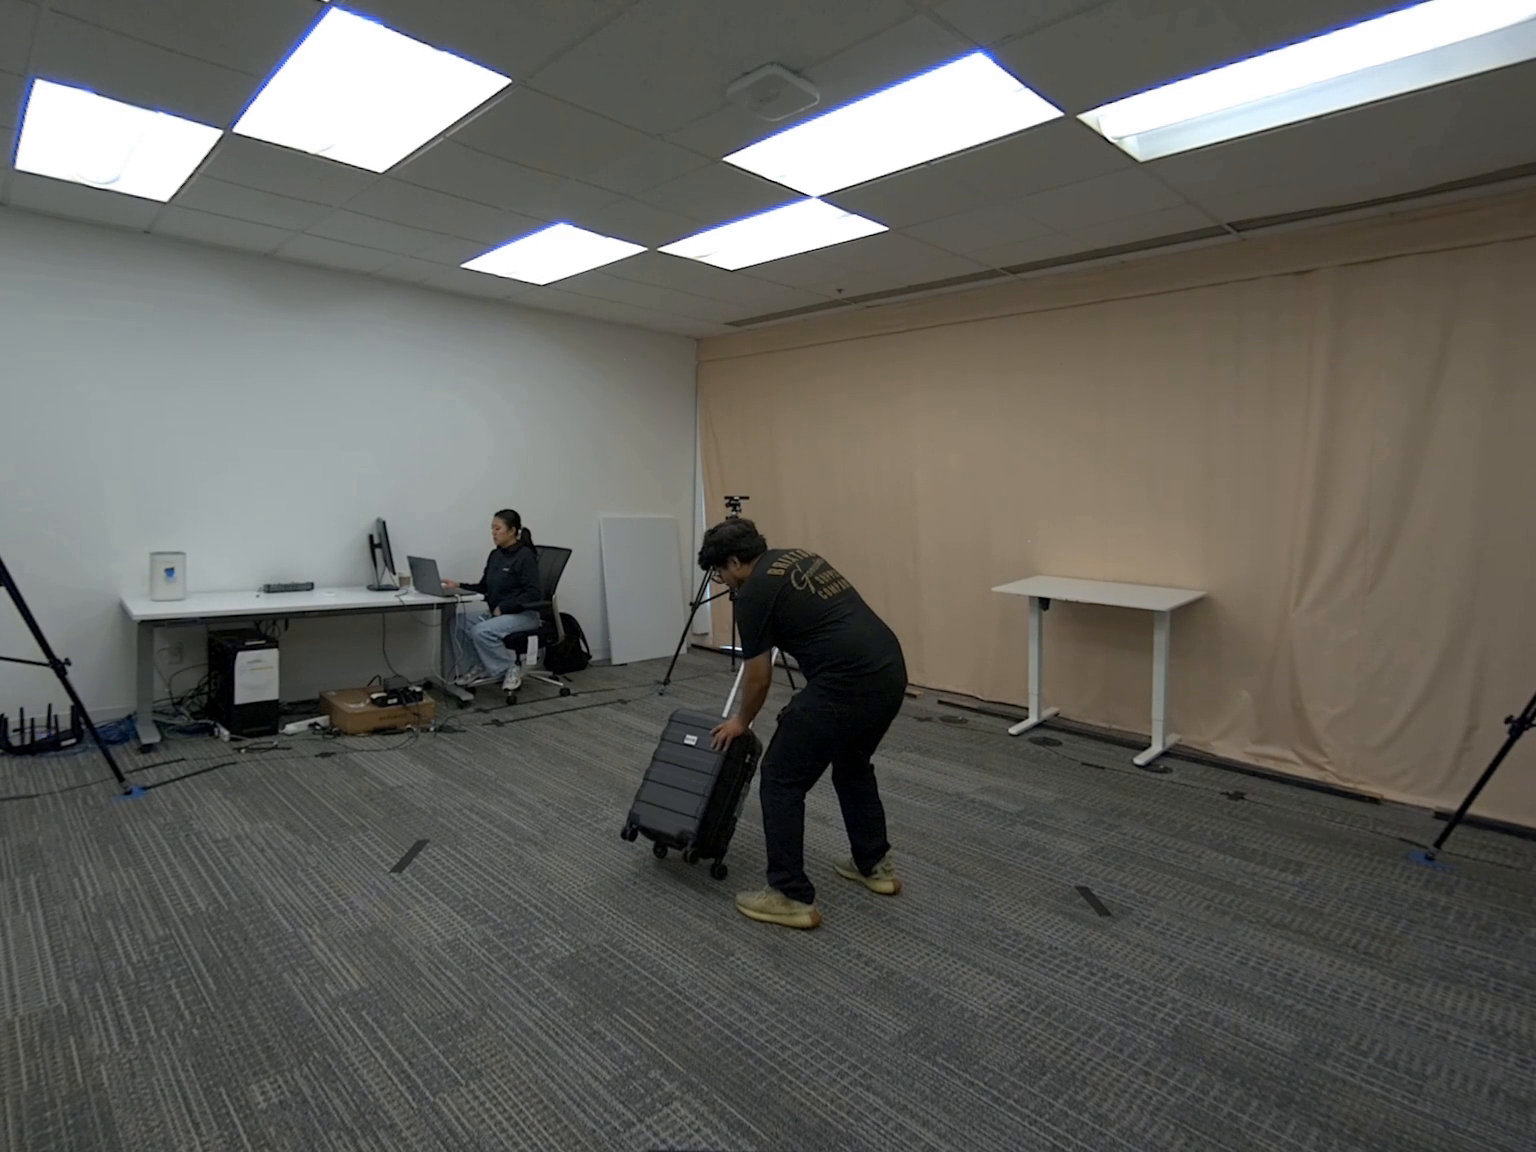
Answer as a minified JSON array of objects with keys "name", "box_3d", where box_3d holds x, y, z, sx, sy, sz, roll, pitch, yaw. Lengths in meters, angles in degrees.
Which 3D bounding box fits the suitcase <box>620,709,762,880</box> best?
[{"name":"suitcase","box_3d":[-0.209,0.614,3.266,0.393,0.986,0.249,4,-27,35]}]
